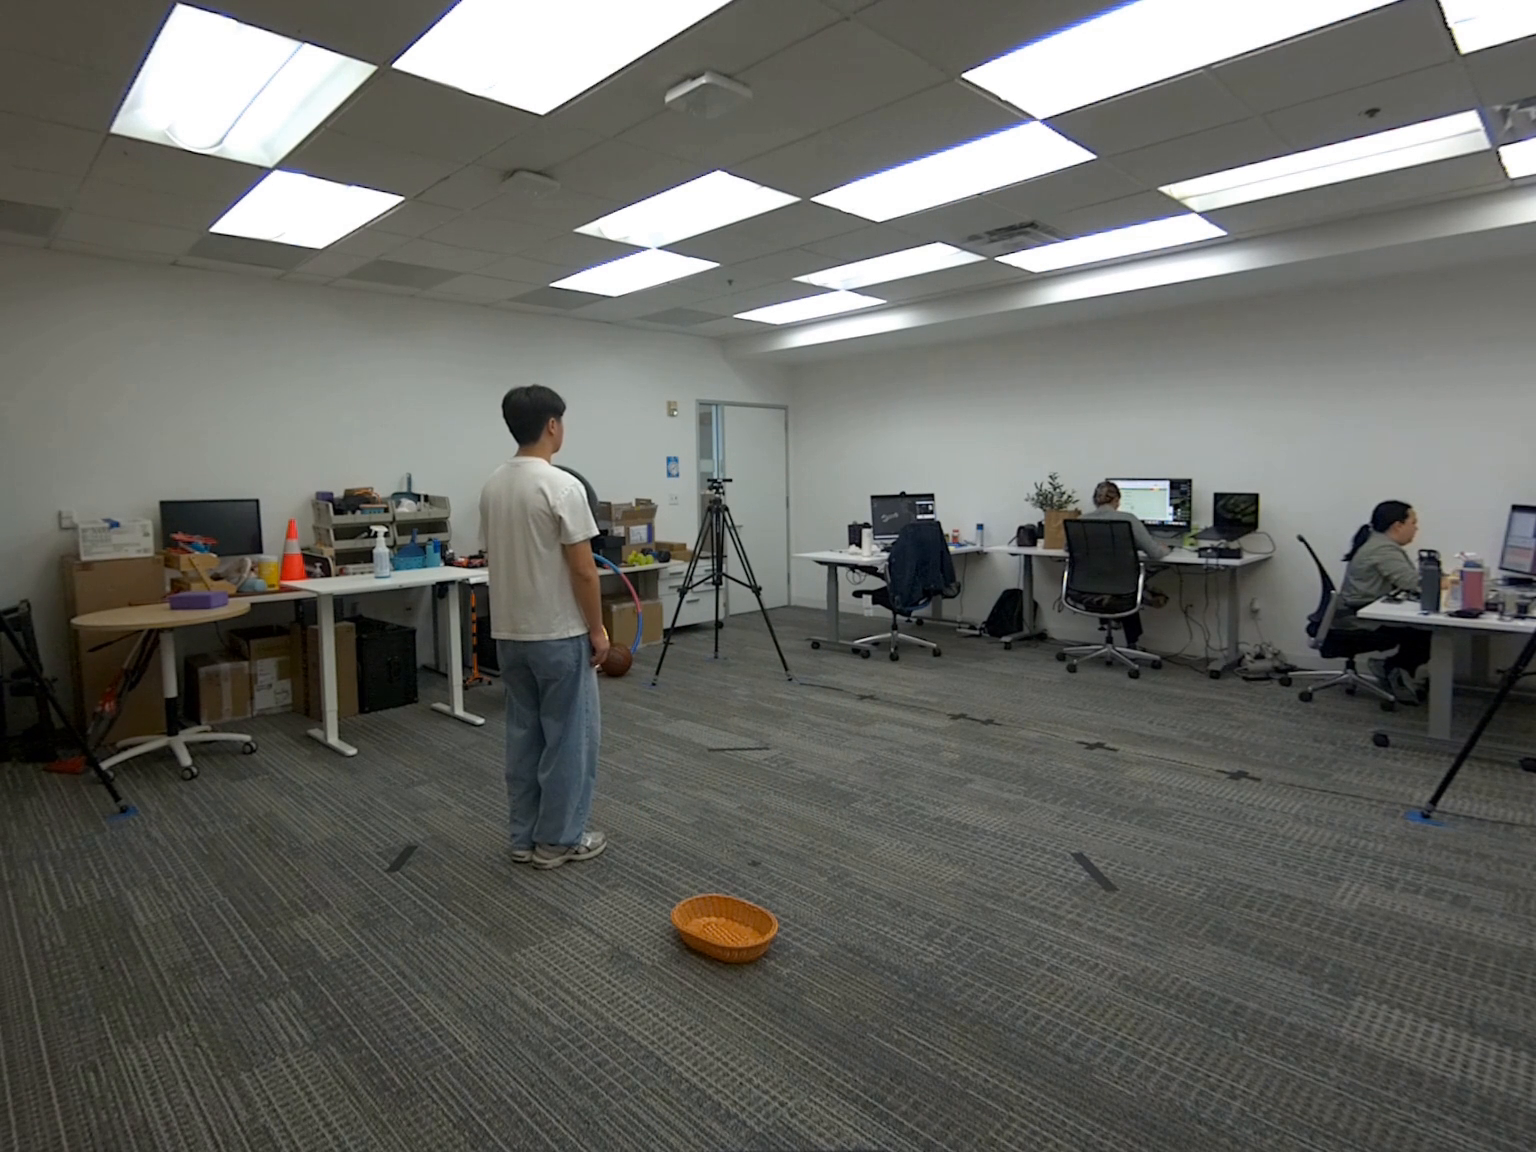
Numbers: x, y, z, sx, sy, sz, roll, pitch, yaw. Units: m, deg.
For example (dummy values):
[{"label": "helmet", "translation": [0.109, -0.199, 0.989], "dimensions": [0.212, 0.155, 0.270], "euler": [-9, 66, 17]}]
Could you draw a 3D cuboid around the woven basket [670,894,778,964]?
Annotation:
[{"label": "woven basket", "translation": [-0.125, 1.069, 2.590], "dimensions": [0.361, 0.073, 0.246], "euler": [4, 8, 39]}]
